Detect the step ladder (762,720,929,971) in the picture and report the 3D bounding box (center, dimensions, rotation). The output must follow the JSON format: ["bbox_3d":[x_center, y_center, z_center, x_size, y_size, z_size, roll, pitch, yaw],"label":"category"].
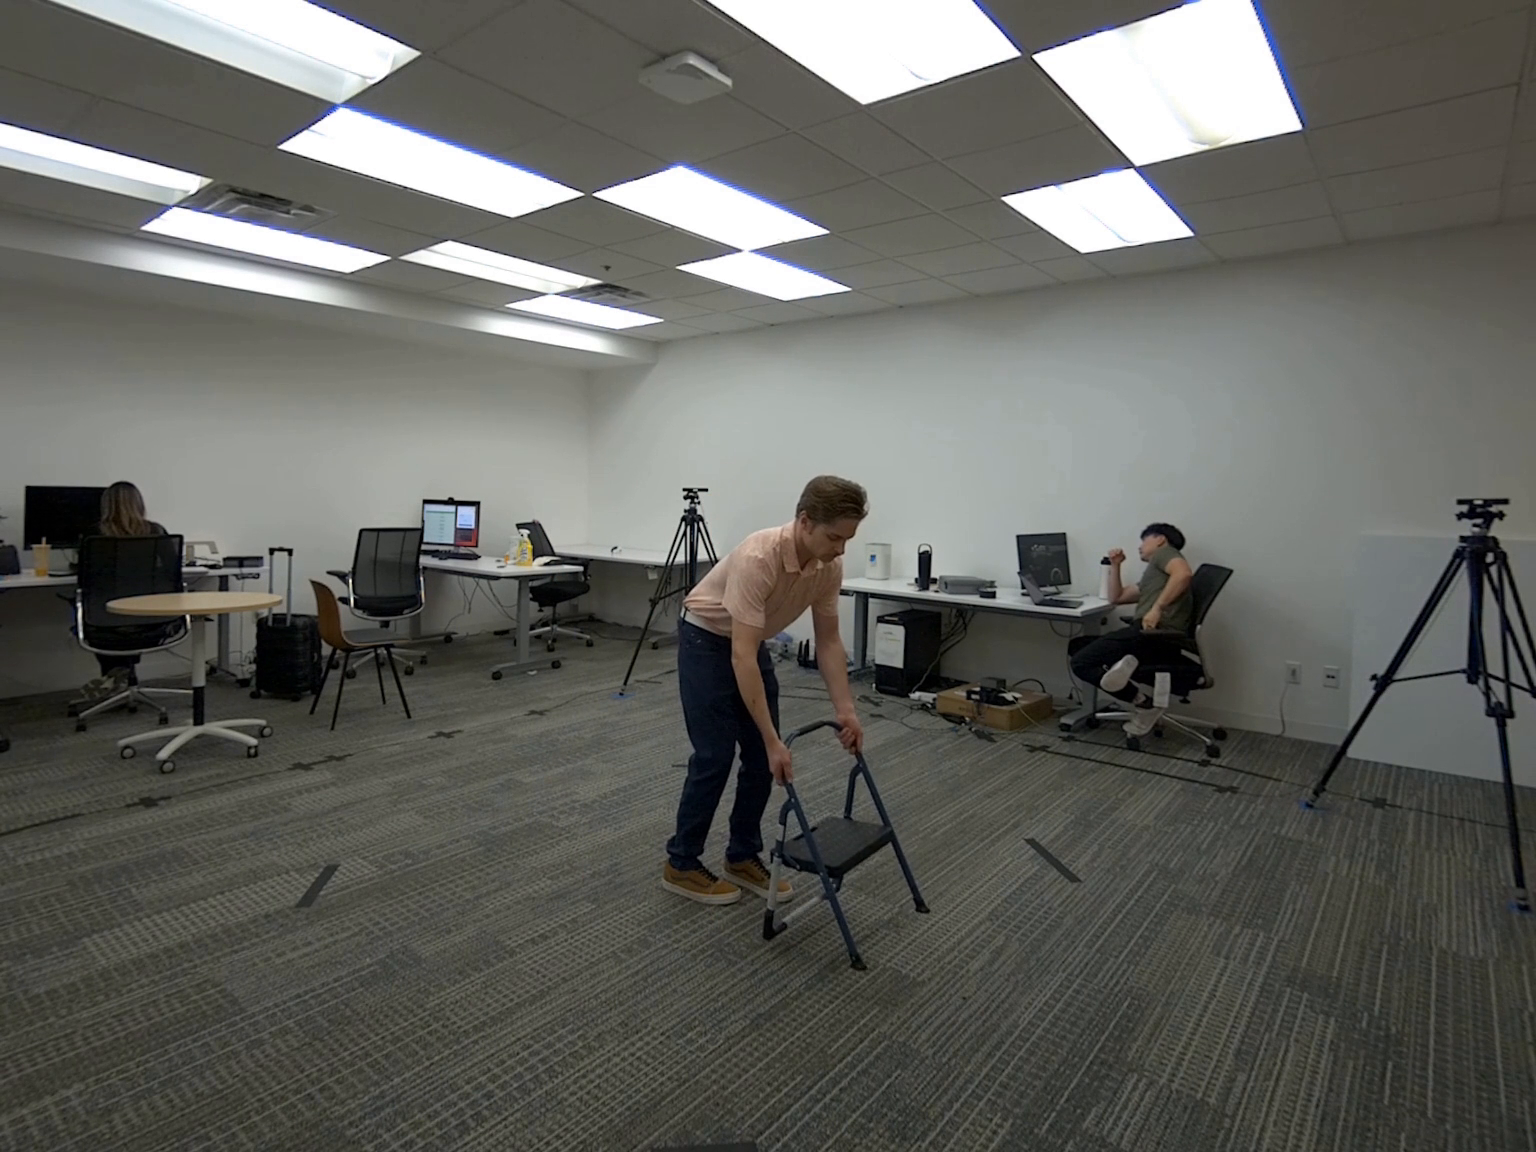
[{"bbox_3d":[0.208,0.757,2.601,0.359,0.606,0.418,-5,0,37],"label":"step ladder"}]
